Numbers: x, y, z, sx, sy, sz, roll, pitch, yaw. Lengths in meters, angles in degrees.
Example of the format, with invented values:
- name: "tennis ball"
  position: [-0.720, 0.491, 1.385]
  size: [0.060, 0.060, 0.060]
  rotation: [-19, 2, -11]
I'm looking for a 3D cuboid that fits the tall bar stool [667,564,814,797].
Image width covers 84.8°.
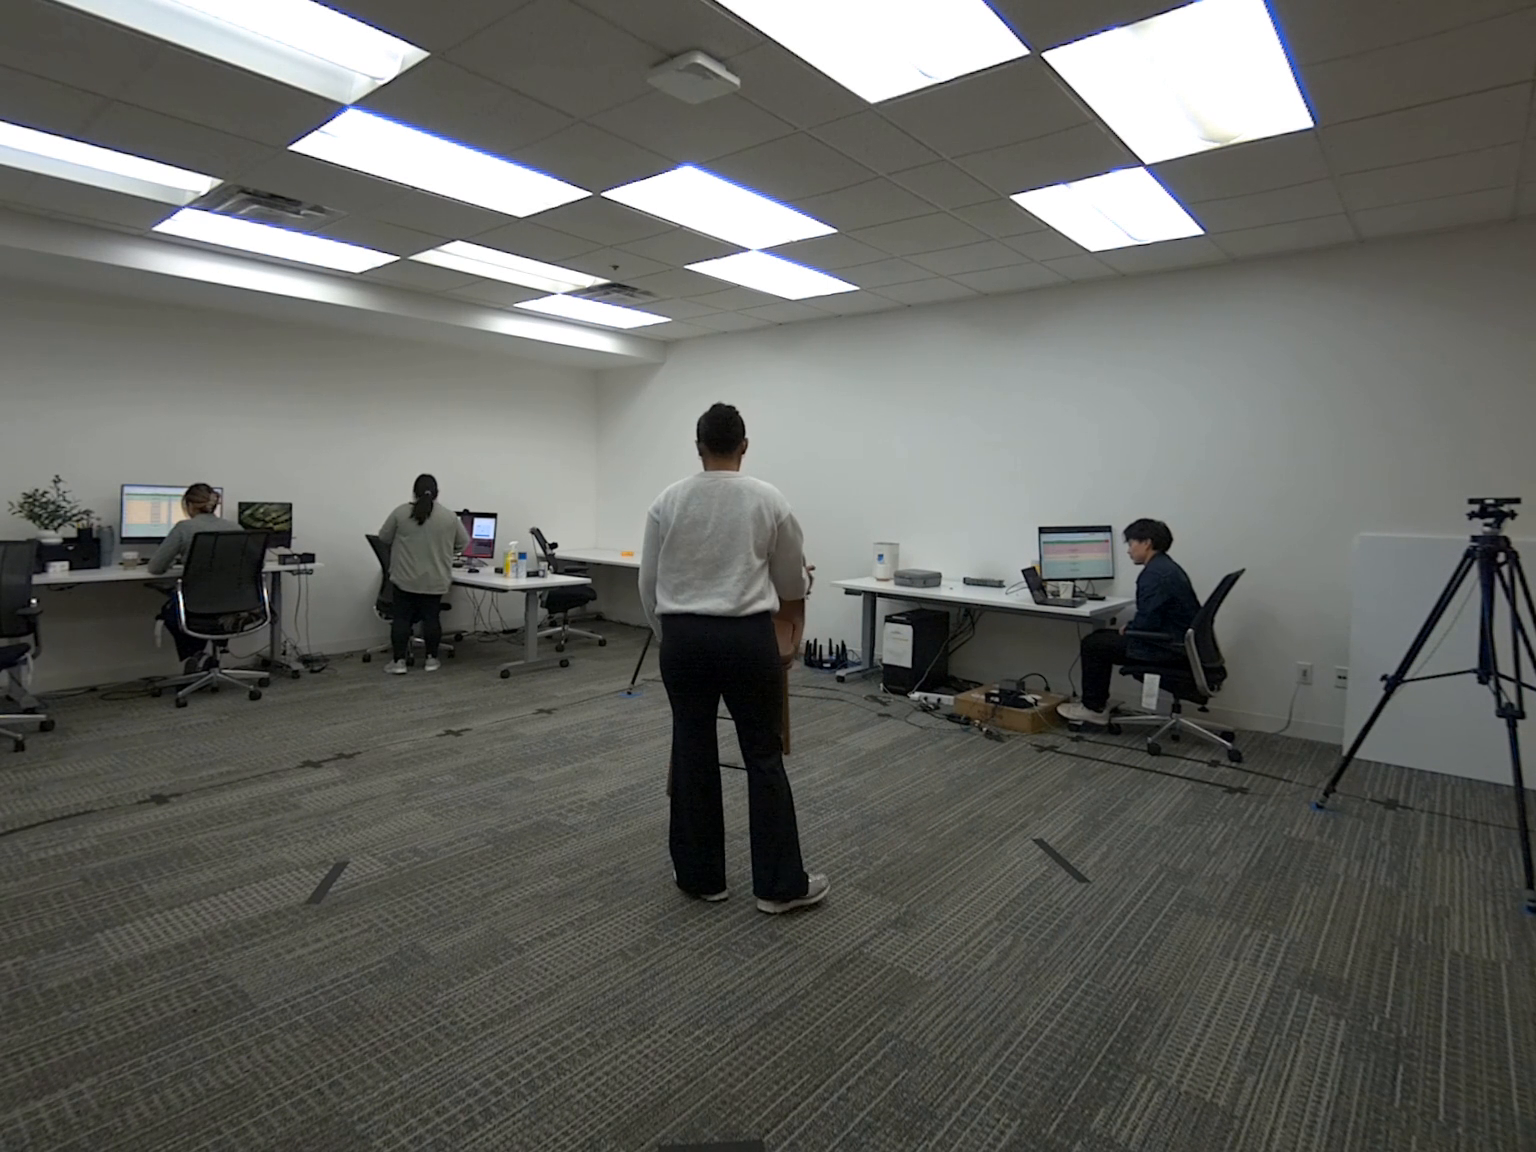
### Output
- name: "tall bar stool"
  position: [-0.119, 0.355, 3.195]
  size: [0.464, 0.879, 0.466]
  rotation: [7, 14, 12]
